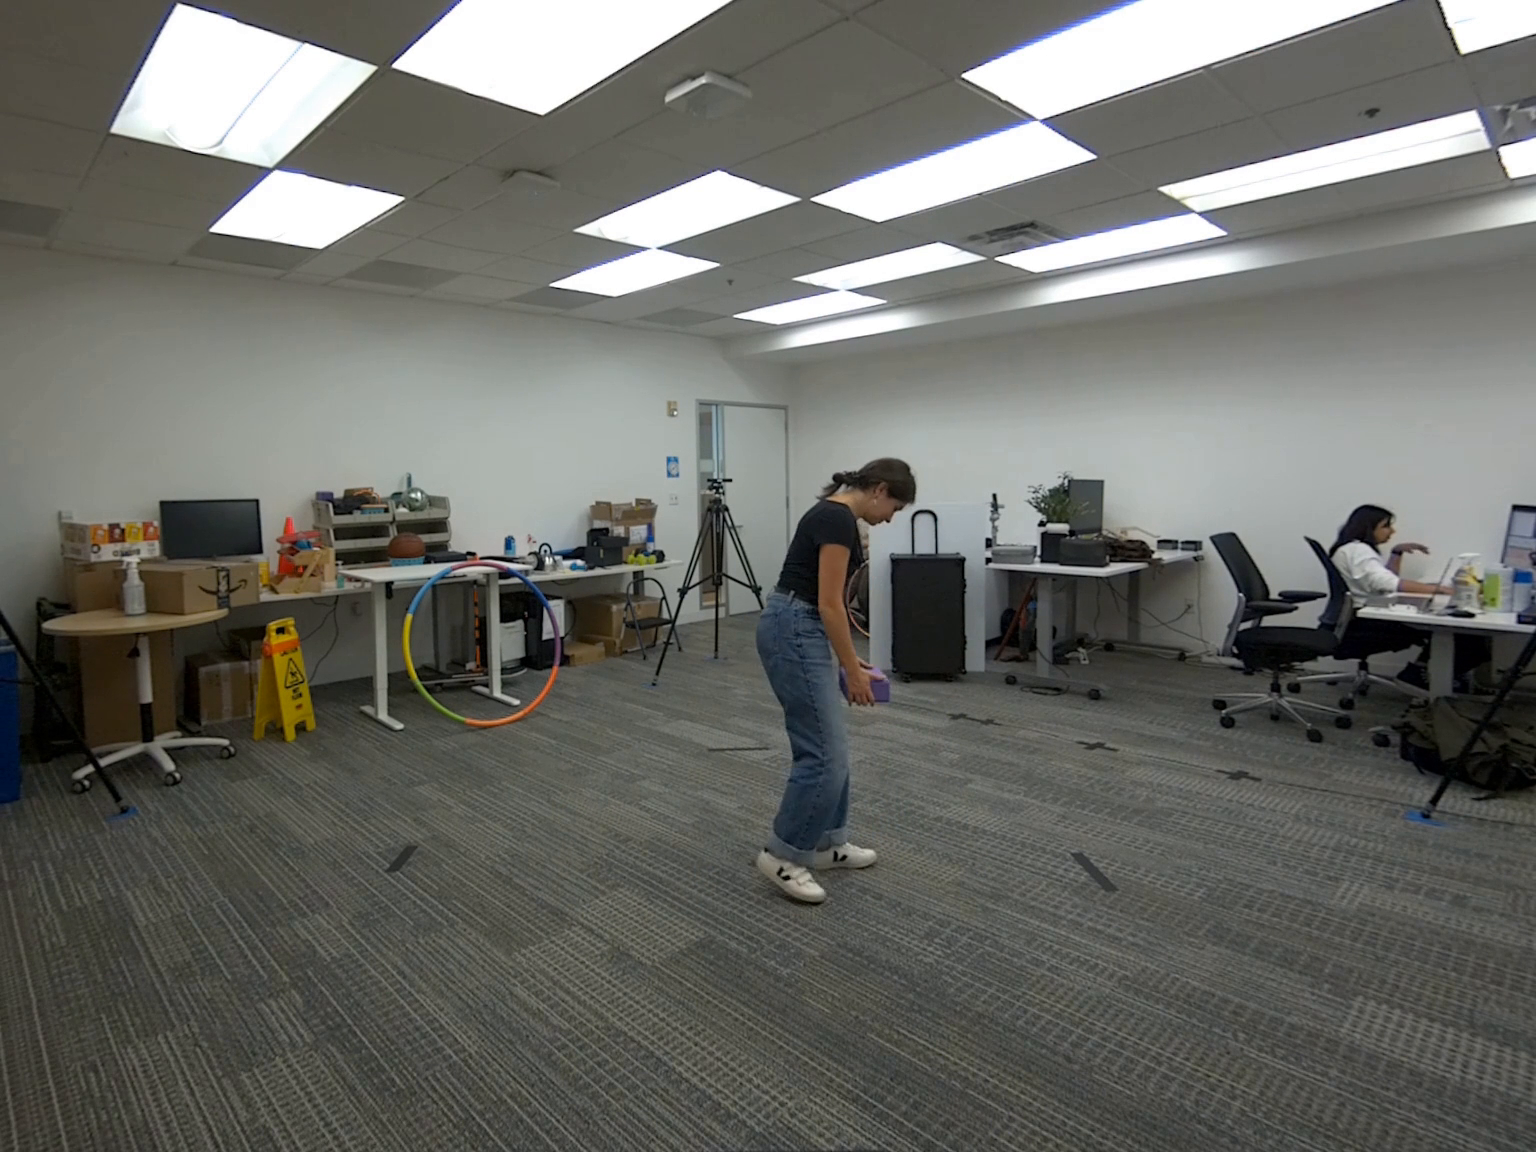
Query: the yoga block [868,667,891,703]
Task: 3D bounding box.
[{"bbox_3d":[0.335,0.379,2.979,0.149,0.076,0.230,-1,4,-1],"label":"yoga block"}]
